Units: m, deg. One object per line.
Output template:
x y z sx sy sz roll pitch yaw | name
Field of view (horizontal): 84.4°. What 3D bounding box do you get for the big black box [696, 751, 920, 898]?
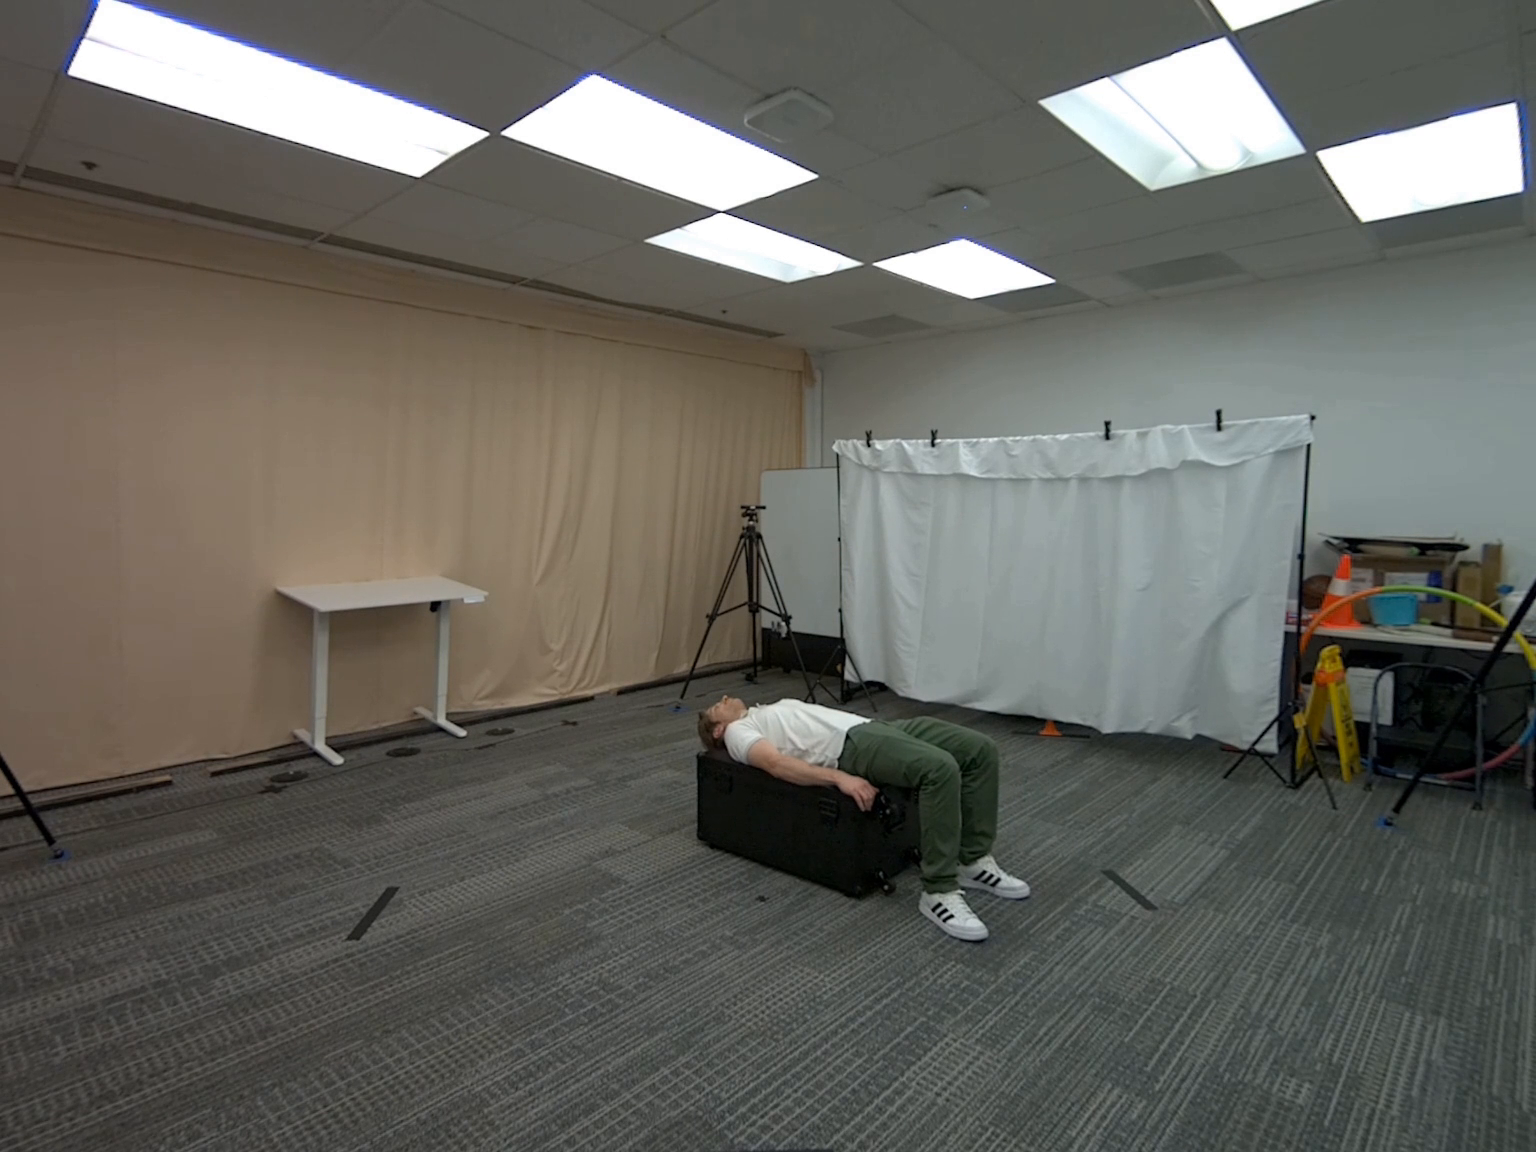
0.191 0.922 3.346 0.897 0.384 0.507 4 5 39 | big black box
